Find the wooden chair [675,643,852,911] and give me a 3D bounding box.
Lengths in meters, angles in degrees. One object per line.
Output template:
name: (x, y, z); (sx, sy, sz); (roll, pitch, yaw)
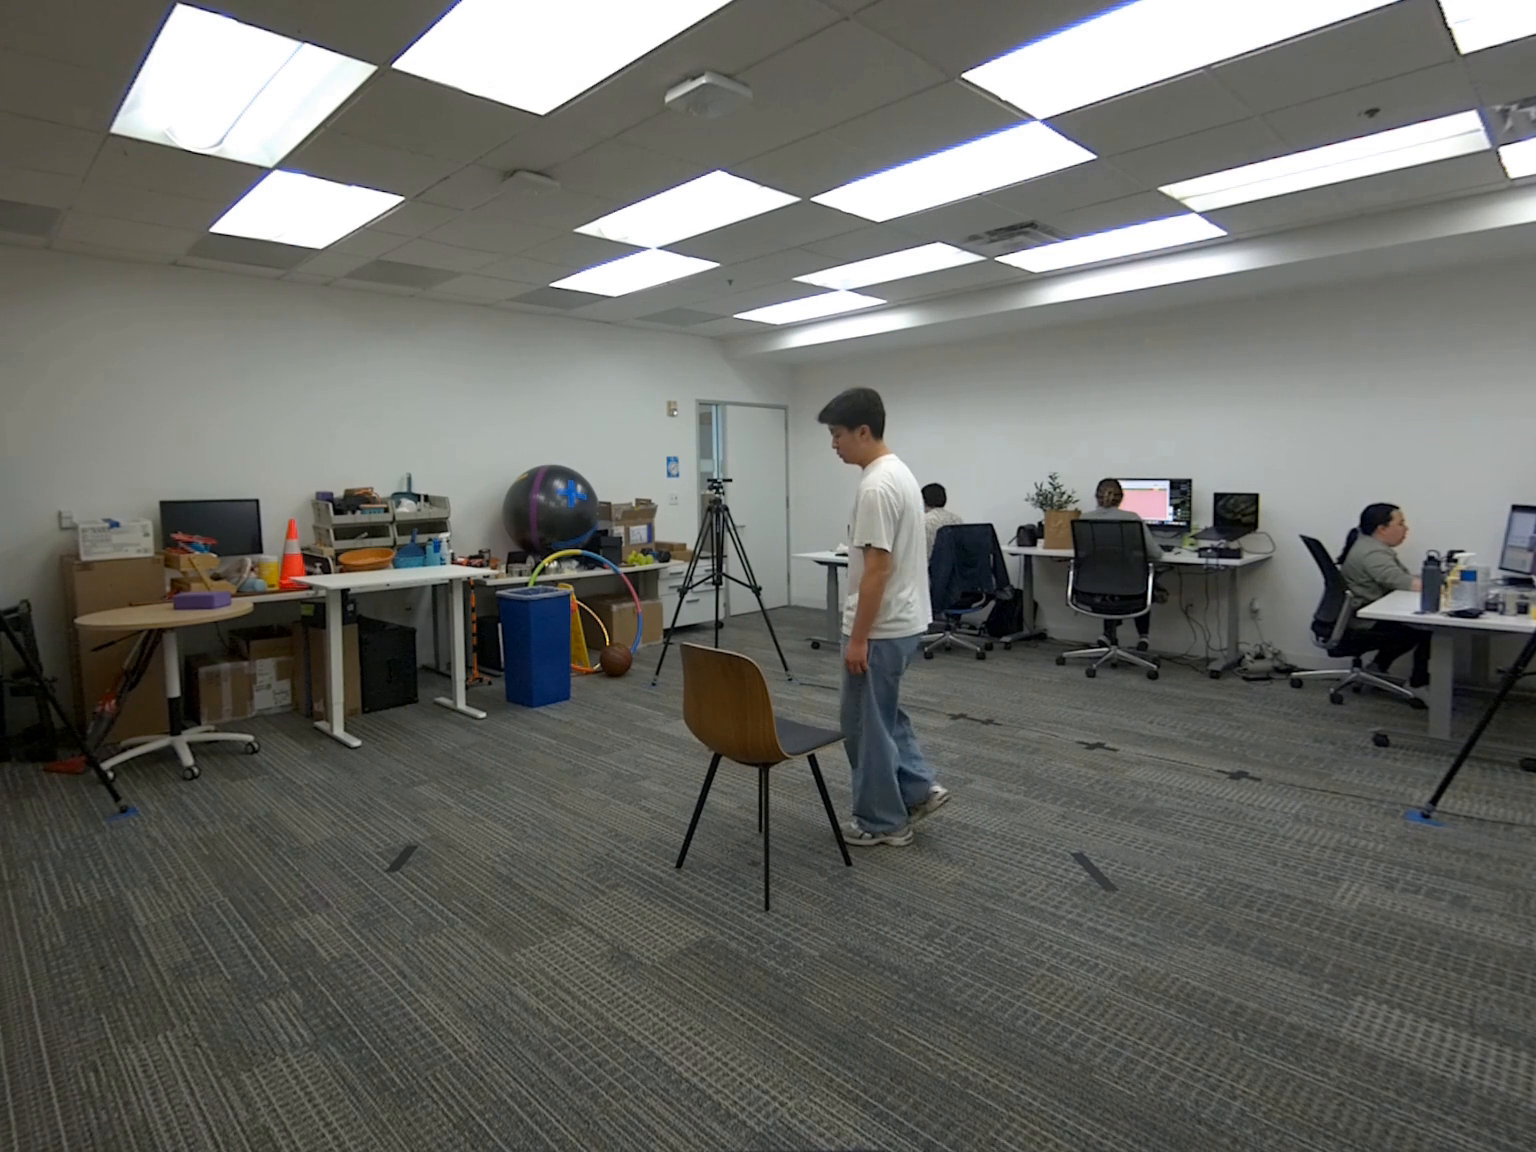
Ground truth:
wooden chair: (-0.017, 0.625, 3.046); (0.493, 0.871, 0.511); (3, 10, 44)
